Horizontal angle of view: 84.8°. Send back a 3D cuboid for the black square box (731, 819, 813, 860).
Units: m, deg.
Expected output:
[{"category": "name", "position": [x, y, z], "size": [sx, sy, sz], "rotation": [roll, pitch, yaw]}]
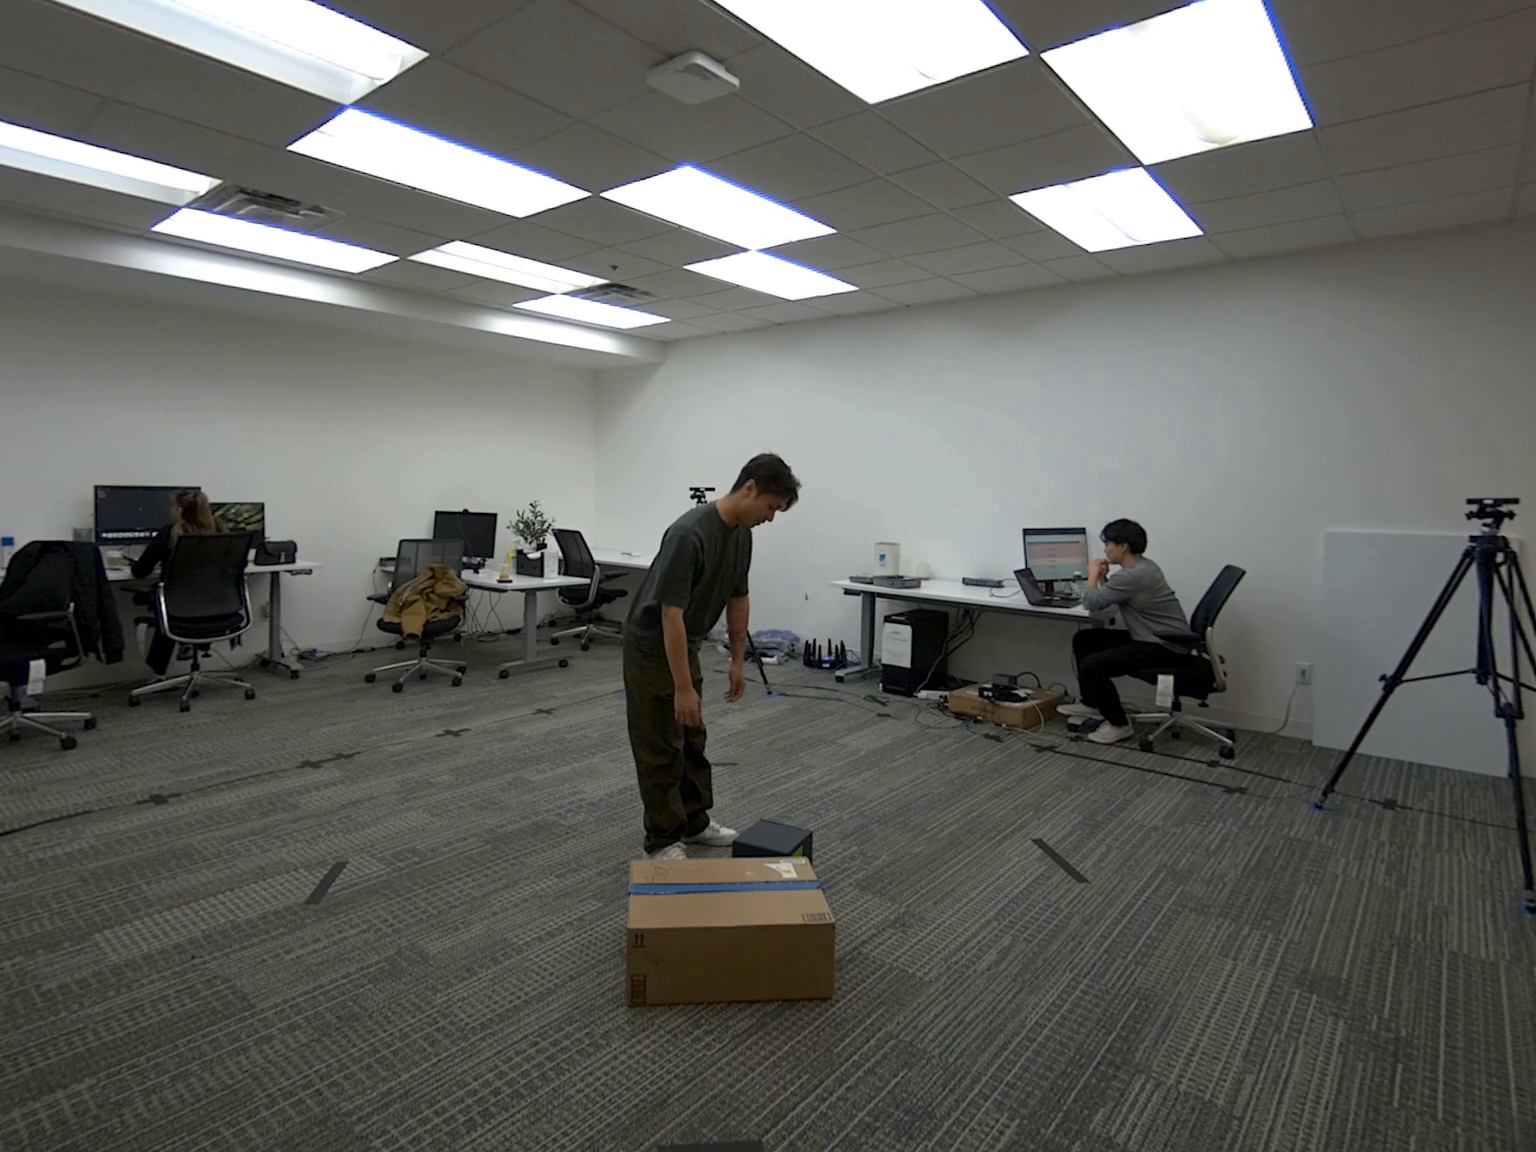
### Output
[{"category": "black square box", "position": [0.007, 0.992, 3.035], "size": [0.223, 0.155, 0.222], "rotation": [4, 5, 26]}]
